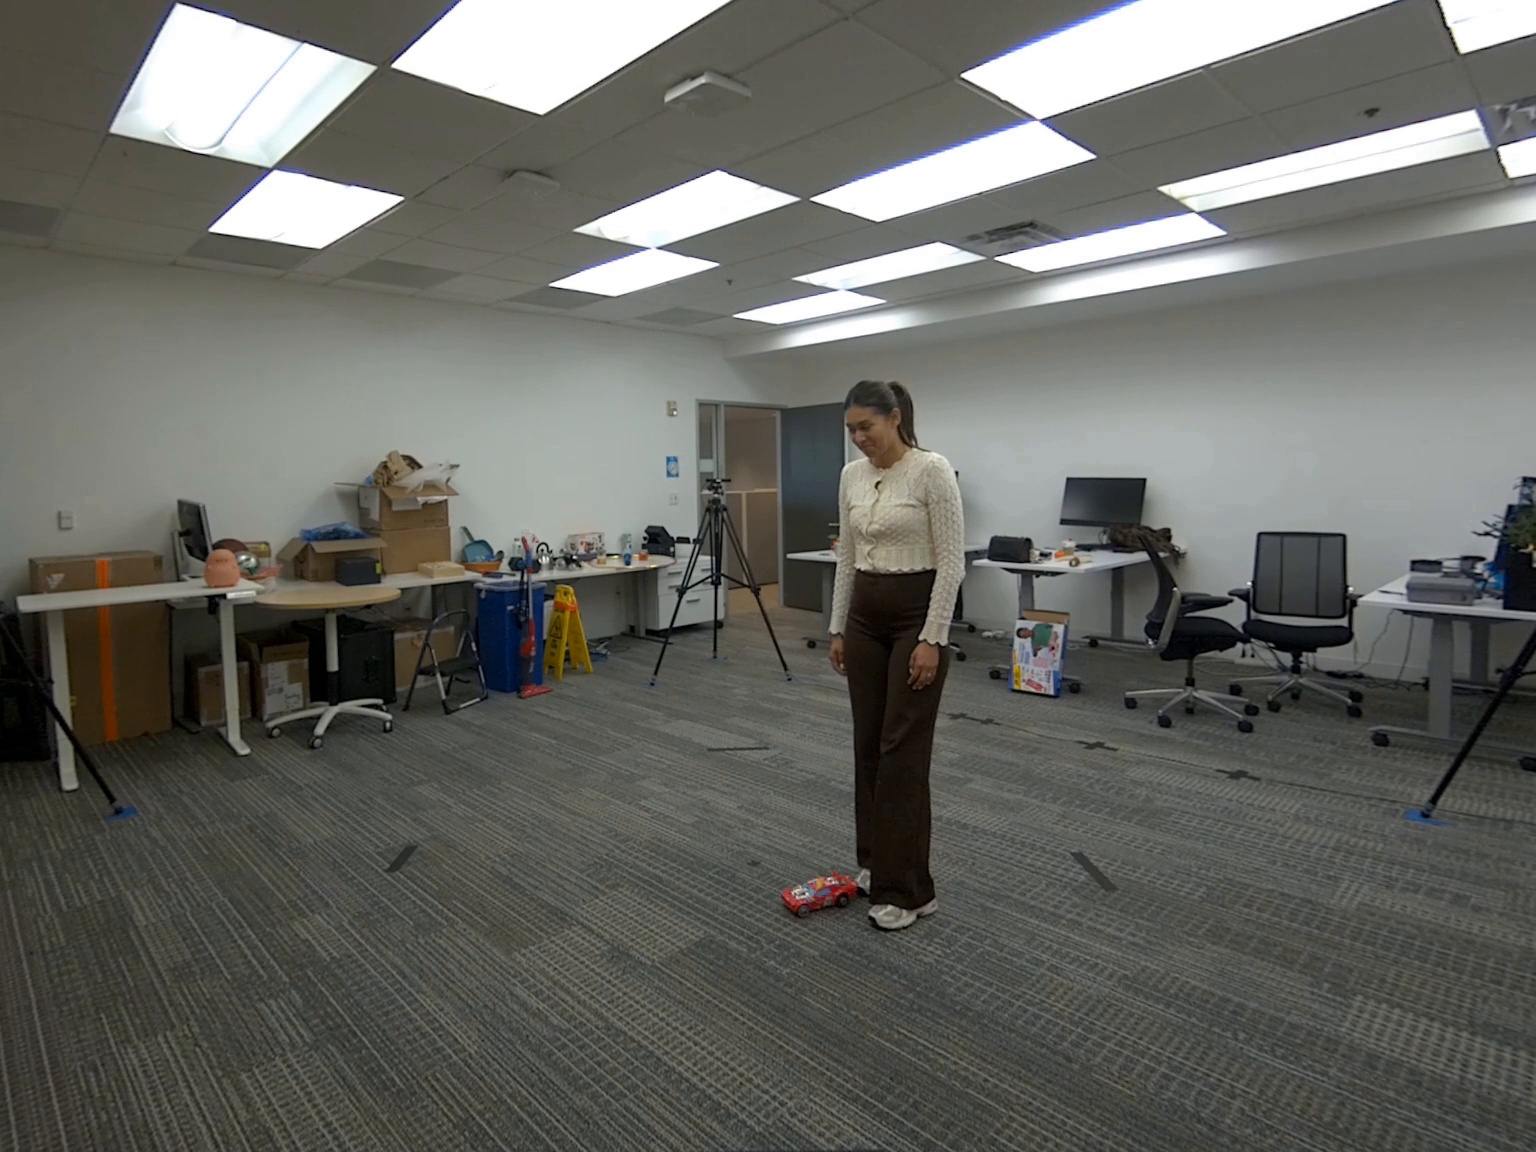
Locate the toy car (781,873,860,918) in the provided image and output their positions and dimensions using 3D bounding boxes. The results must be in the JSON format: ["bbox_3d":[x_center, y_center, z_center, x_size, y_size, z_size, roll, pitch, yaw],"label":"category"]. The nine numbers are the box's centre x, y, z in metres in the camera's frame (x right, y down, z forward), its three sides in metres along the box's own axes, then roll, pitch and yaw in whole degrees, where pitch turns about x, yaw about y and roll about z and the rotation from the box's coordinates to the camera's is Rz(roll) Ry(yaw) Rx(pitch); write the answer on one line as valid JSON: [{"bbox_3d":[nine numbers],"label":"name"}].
[{"bbox_3d":[0.179,1.044,2.795,0.251,0.082,0.133,-15,11,-23],"label":"toy car"}]
